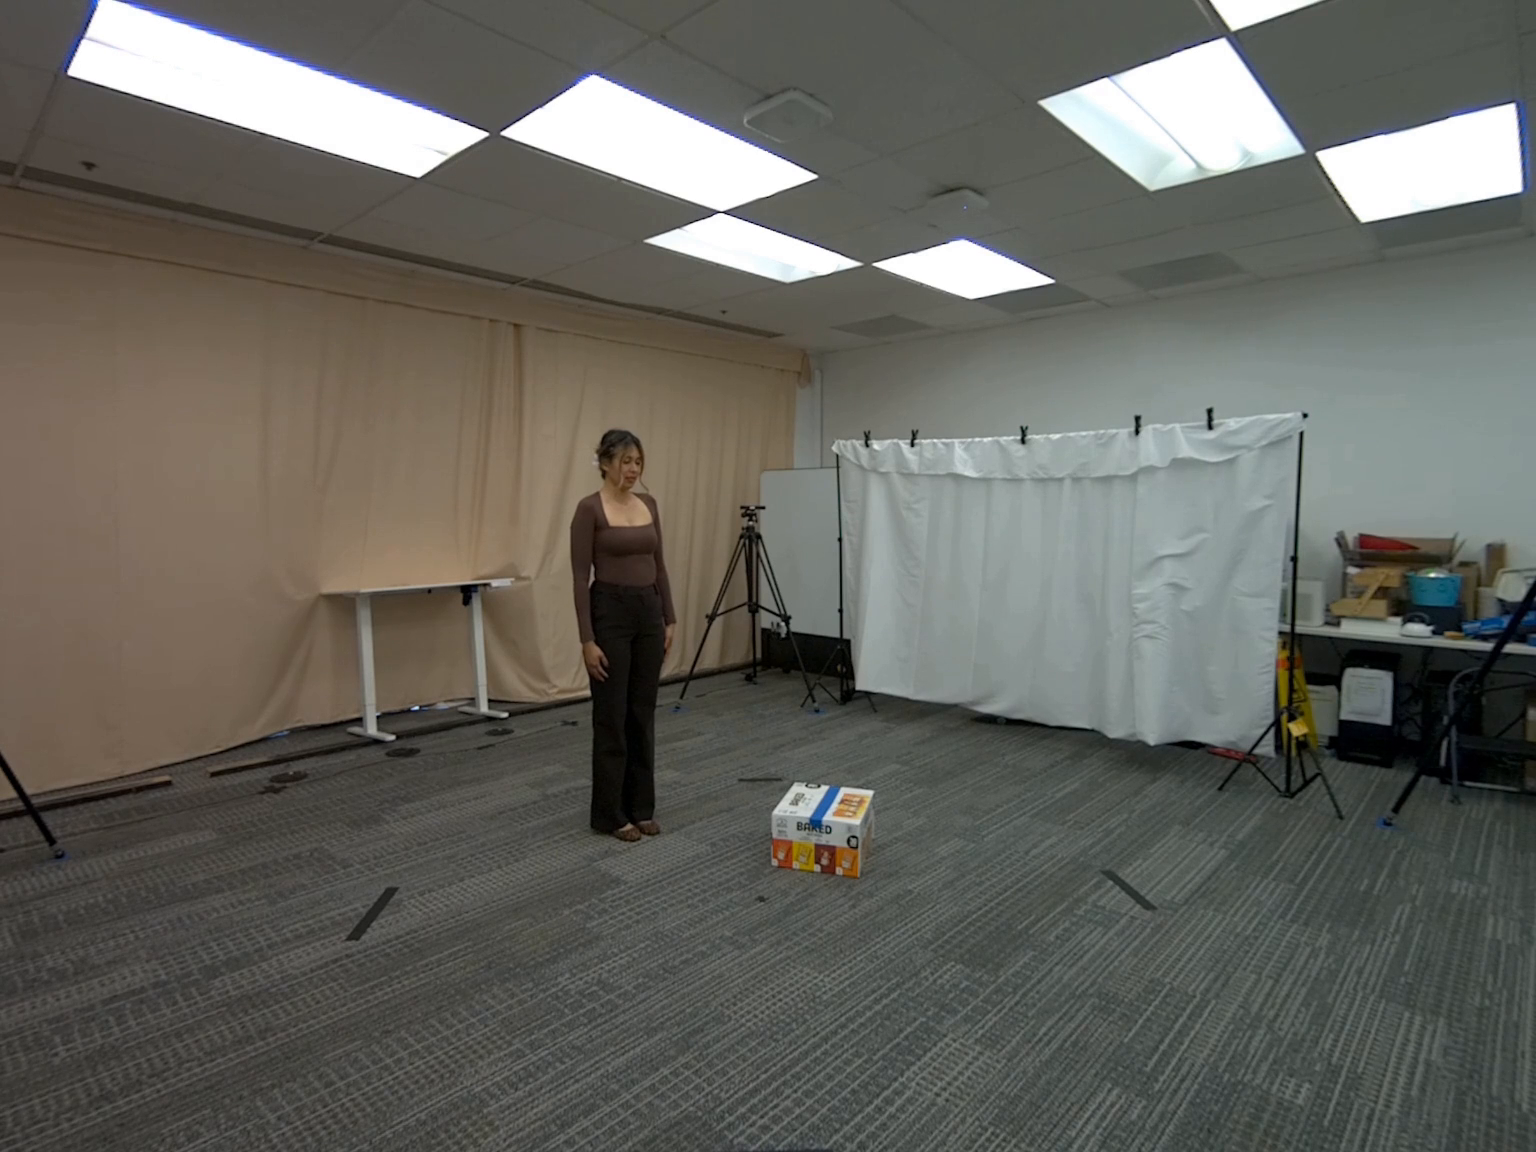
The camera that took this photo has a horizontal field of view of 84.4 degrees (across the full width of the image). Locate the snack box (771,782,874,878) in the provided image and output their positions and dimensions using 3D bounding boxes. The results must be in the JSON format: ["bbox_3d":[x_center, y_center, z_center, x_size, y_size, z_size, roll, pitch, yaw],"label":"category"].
[{"bbox_3d":[0.231,1.006,3.382,0.347,0.205,0.398,1,4,17],"label":"snack box"}]
